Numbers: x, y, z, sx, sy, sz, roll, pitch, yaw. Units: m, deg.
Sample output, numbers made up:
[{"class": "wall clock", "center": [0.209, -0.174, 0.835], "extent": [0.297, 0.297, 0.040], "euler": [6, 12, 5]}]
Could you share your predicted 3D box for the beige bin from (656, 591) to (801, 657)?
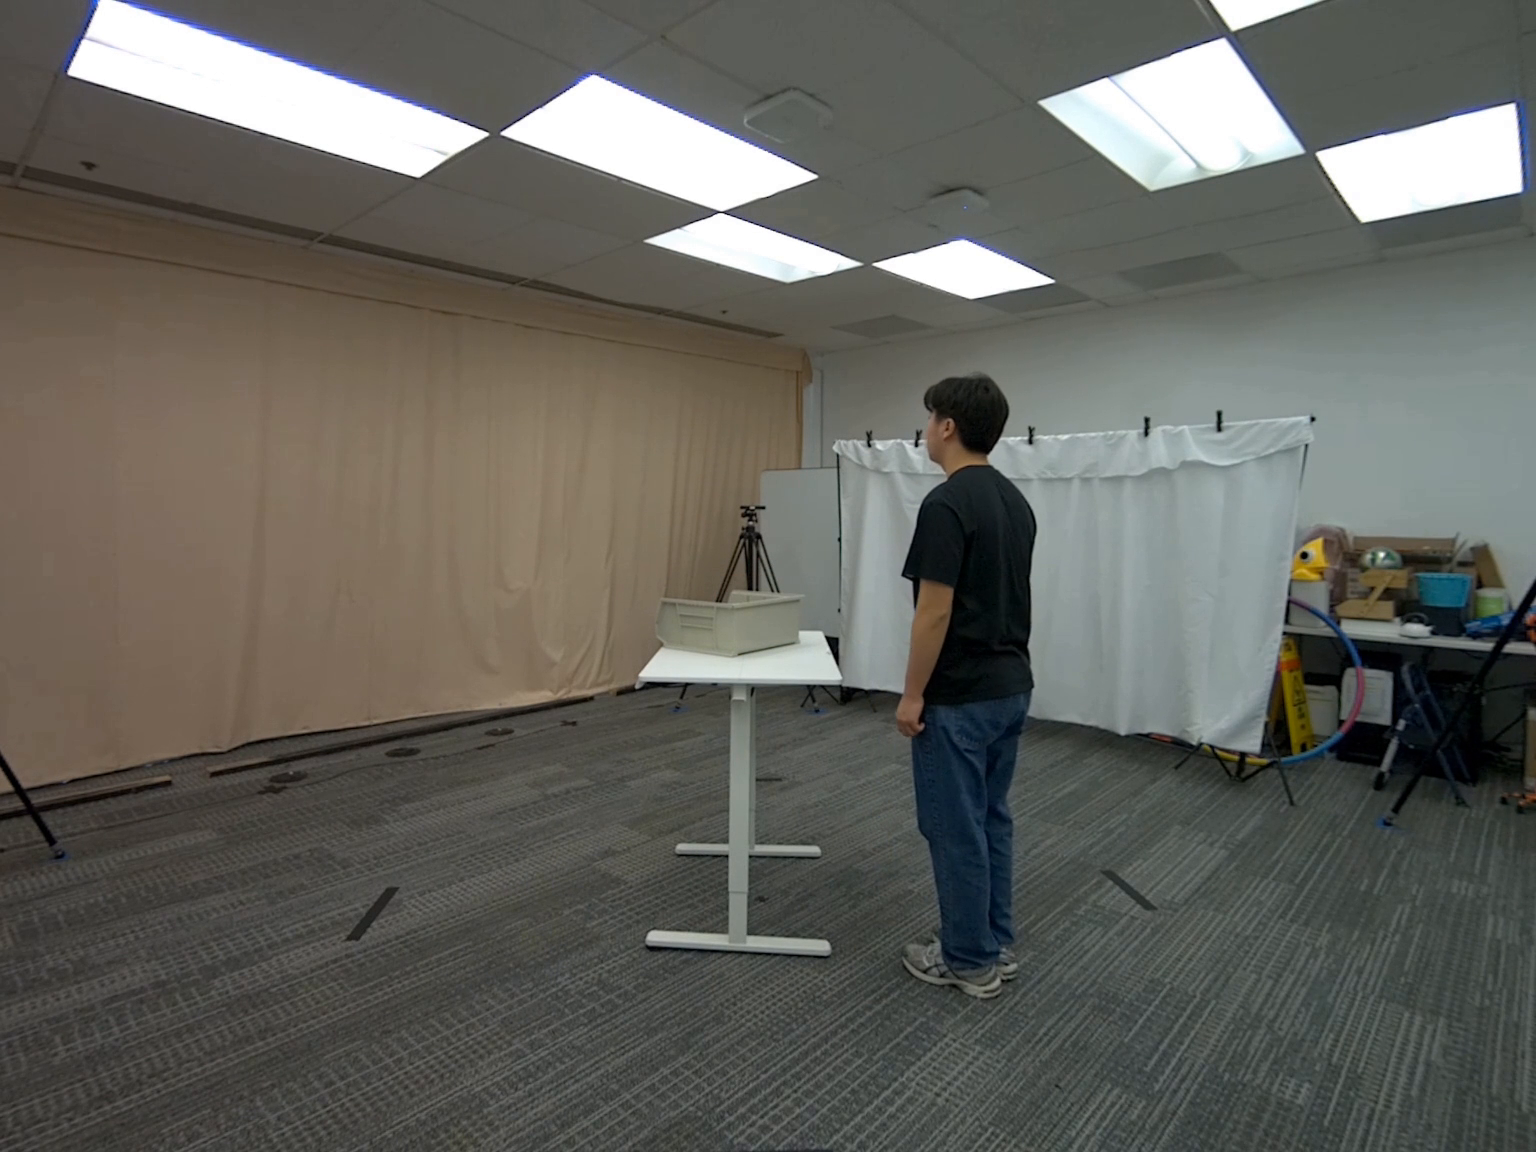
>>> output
[{"class": "beige bin", "center": [-0.139, 0.167, 3.090], "extent": [0.390, 0.188, 0.410], "euler": [4, 6, 38]}]
